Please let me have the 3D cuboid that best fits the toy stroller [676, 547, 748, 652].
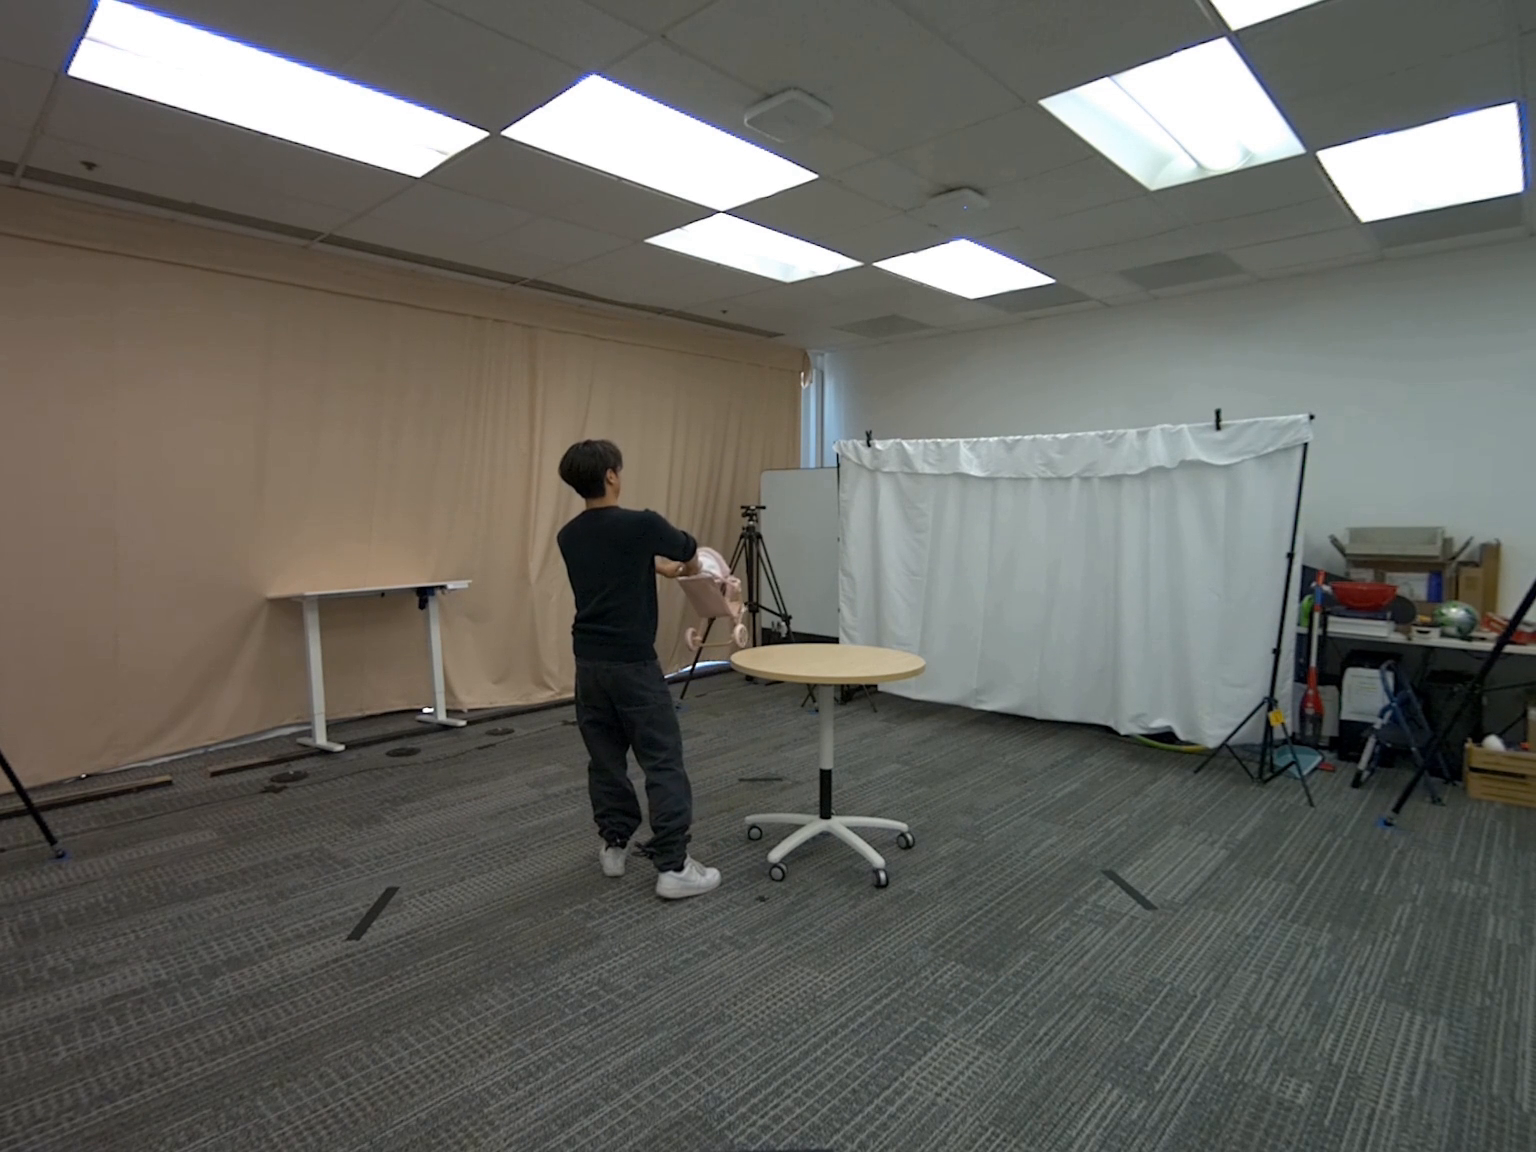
[{"bbox_3d":[-0.250,0.099,3.879,0.289,0.523,0.340,-3,30,28],"label":"toy stroller"}]
